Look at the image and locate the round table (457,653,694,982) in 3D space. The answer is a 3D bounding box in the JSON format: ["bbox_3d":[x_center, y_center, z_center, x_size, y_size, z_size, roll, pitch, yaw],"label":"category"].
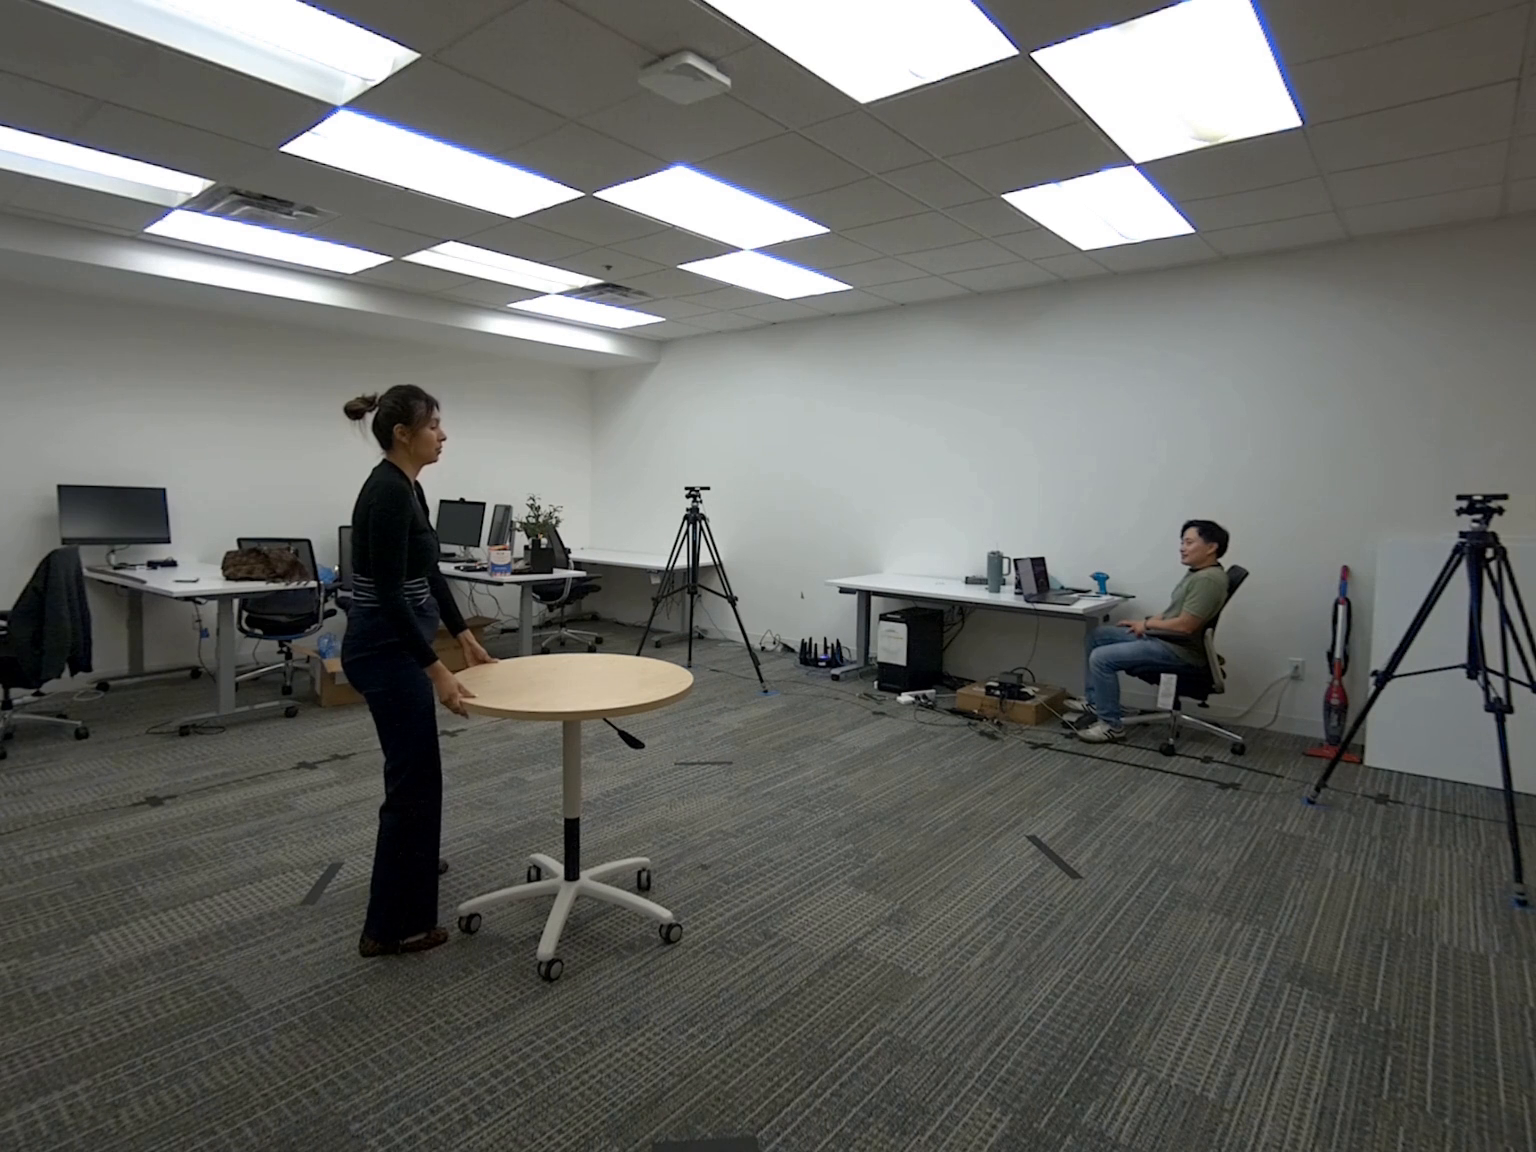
[{"bbox_3d":[-0.625,0.718,2.685,0.763,0.791,0.768,0,5,-2],"label":"round table"}]
